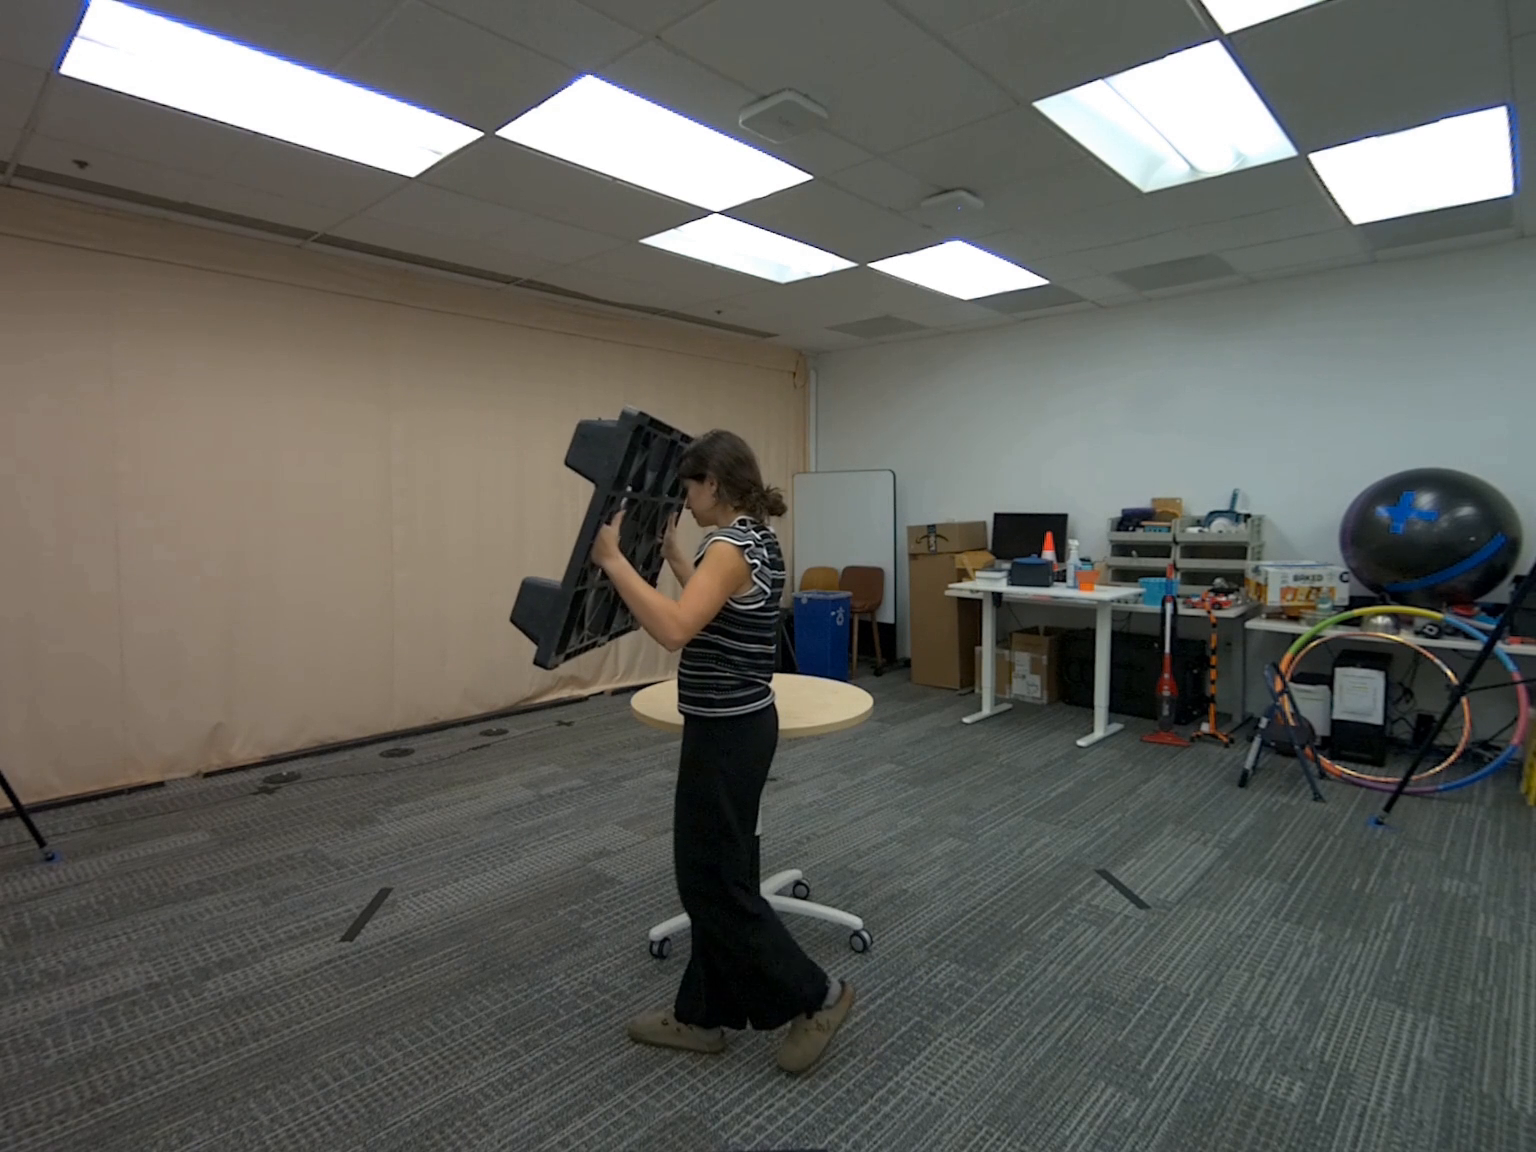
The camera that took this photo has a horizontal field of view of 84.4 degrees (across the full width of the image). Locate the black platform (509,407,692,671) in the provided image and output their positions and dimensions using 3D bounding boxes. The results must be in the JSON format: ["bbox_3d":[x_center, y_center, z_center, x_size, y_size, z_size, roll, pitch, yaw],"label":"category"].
[{"bbox_3d":[-0.379,-0.114,2.177,0.144,0.604,0.801,18,4,3],"label":"black platform"}]
